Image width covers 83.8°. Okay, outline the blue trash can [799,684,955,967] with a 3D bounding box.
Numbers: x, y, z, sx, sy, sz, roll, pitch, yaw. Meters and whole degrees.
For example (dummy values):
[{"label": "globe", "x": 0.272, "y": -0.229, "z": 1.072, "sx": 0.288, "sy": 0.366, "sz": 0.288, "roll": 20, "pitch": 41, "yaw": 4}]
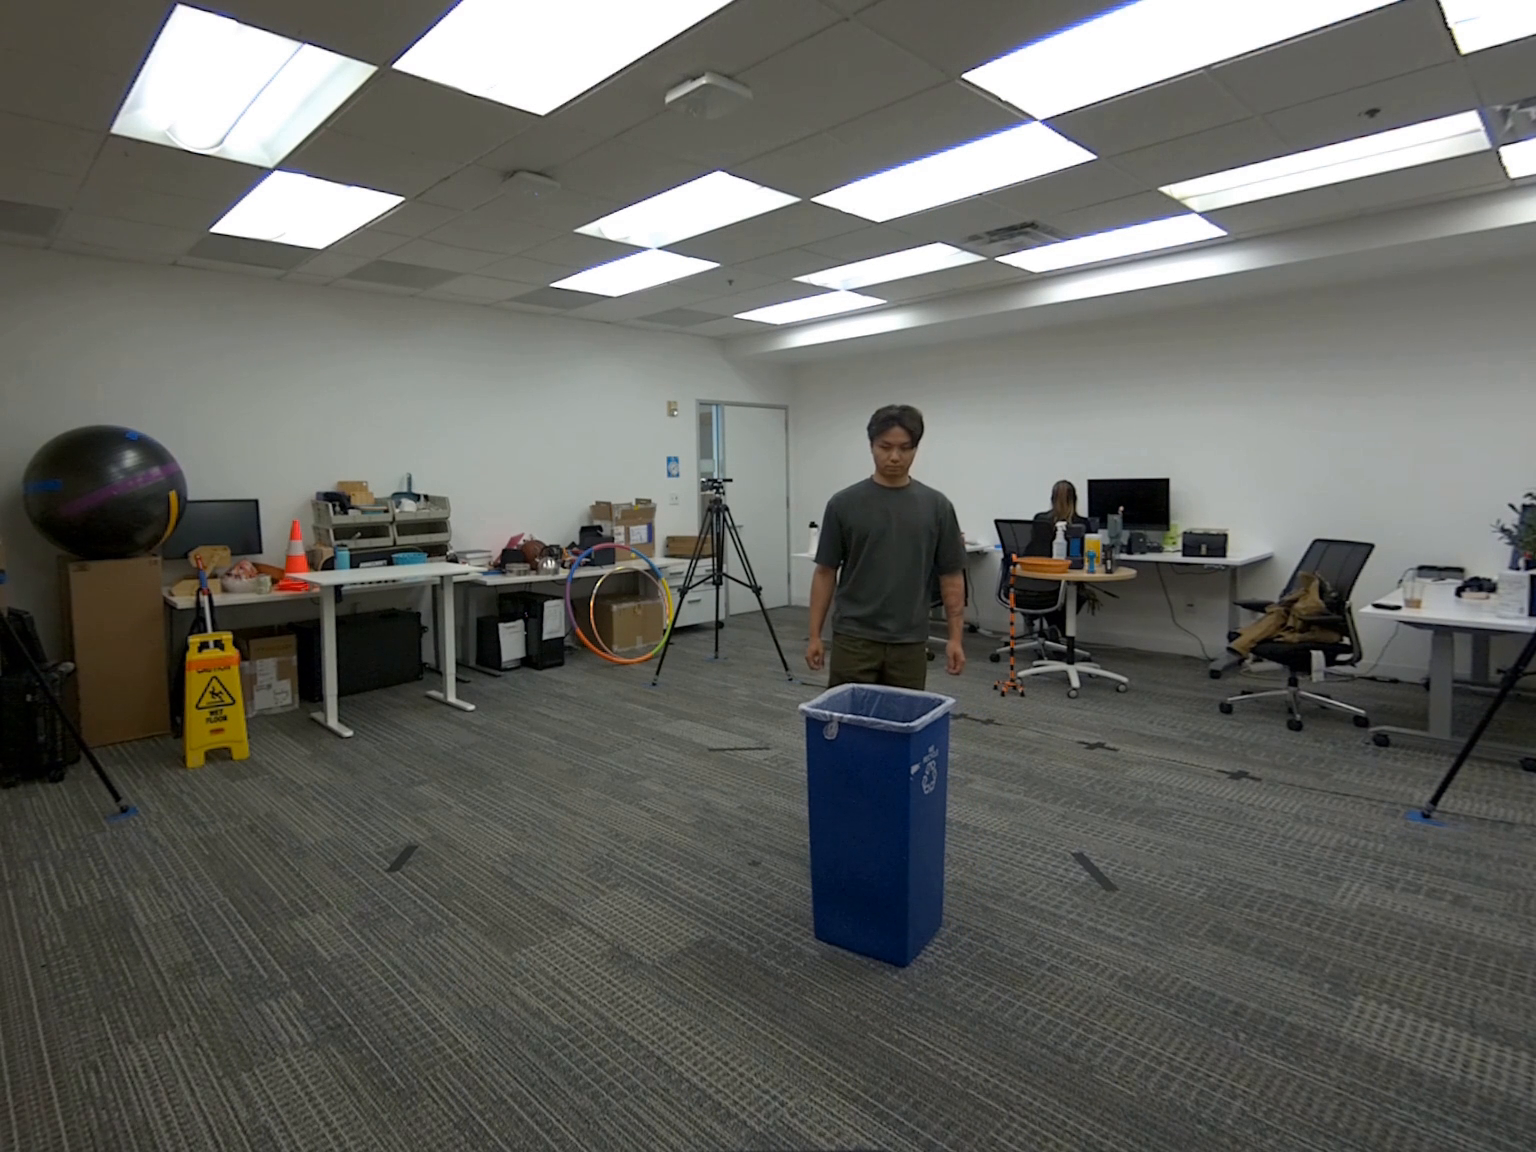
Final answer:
[{"label": "blue trash can", "x": 0.336, "y": 0.738, "z": 2.605, "sx": 0.385, "sy": 0.711, "sz": 0.369, "roll": 3, "pitch": 5, "yaw": 33}]
